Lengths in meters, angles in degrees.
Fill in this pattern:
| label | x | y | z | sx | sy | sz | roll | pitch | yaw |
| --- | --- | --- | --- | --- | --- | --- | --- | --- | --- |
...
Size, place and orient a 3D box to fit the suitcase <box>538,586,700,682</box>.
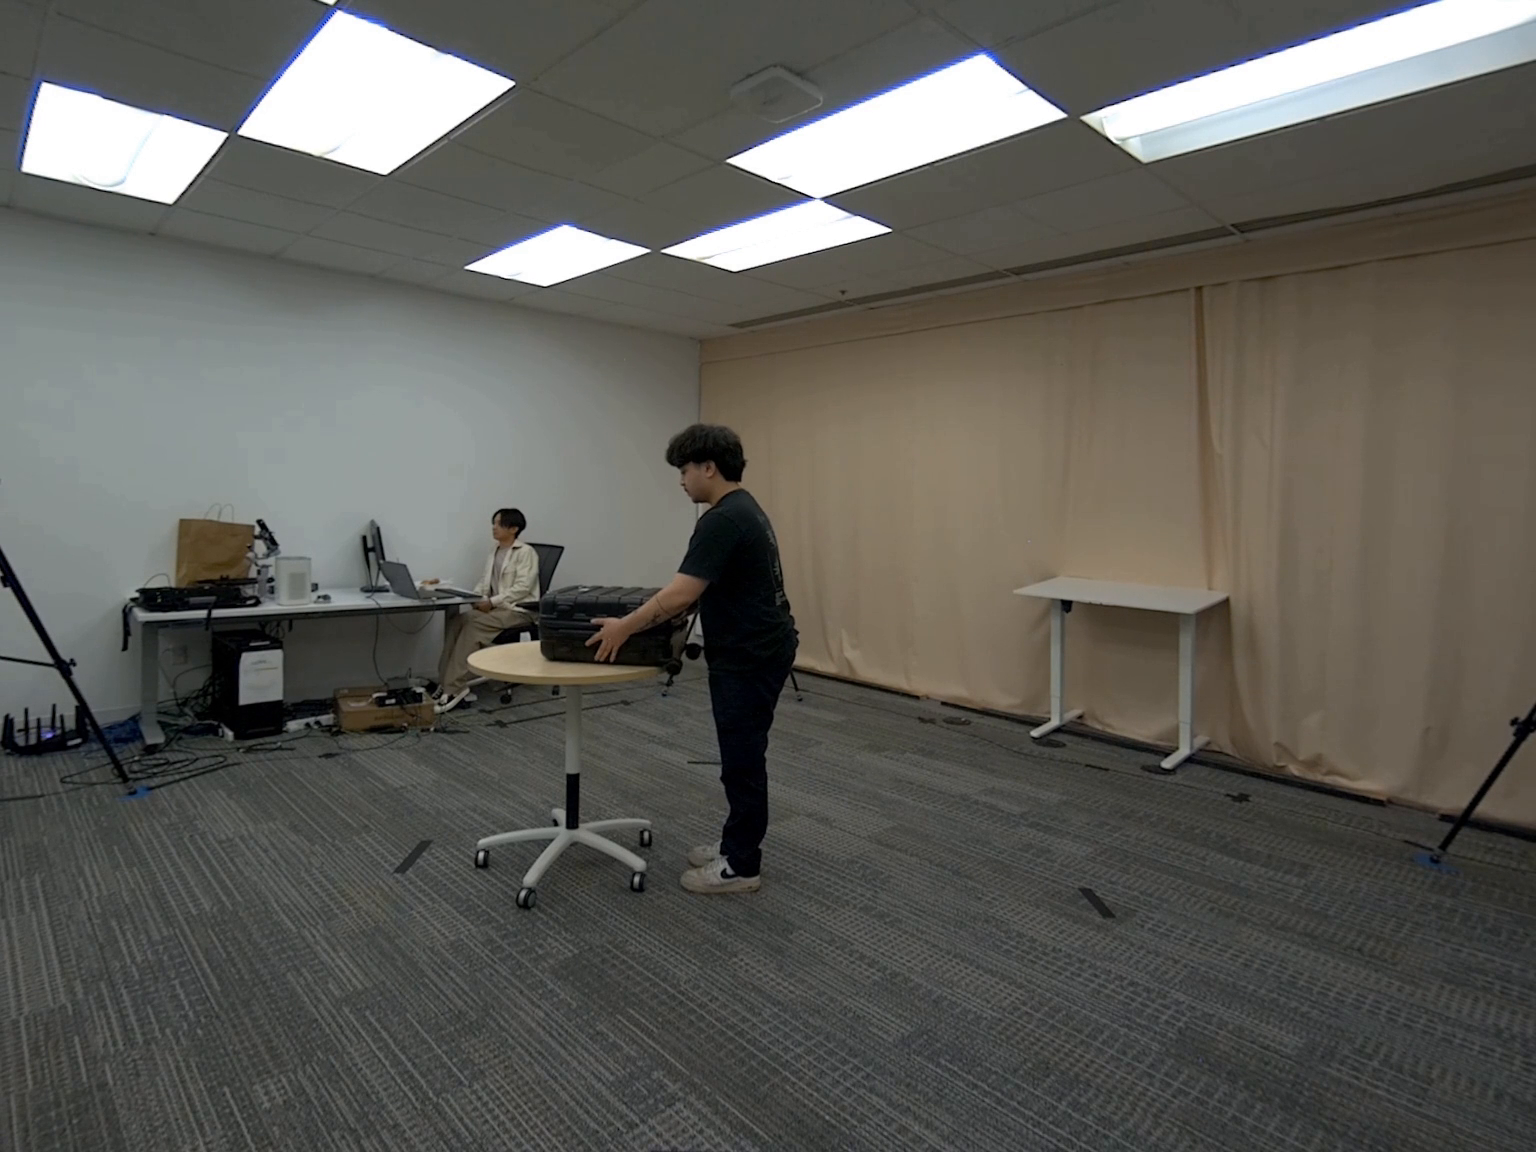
| label | x | y | z | sx | sy | sz | roll | pitch | yaw |
| --- | --- | --- | --- | --- | --- | --- | --- | --- | --- |
| suitcase | -0.558 | 0.180 | 3.123 | 0.554 | 0.247 | 0.373 | 2 | 5 | 10 |
